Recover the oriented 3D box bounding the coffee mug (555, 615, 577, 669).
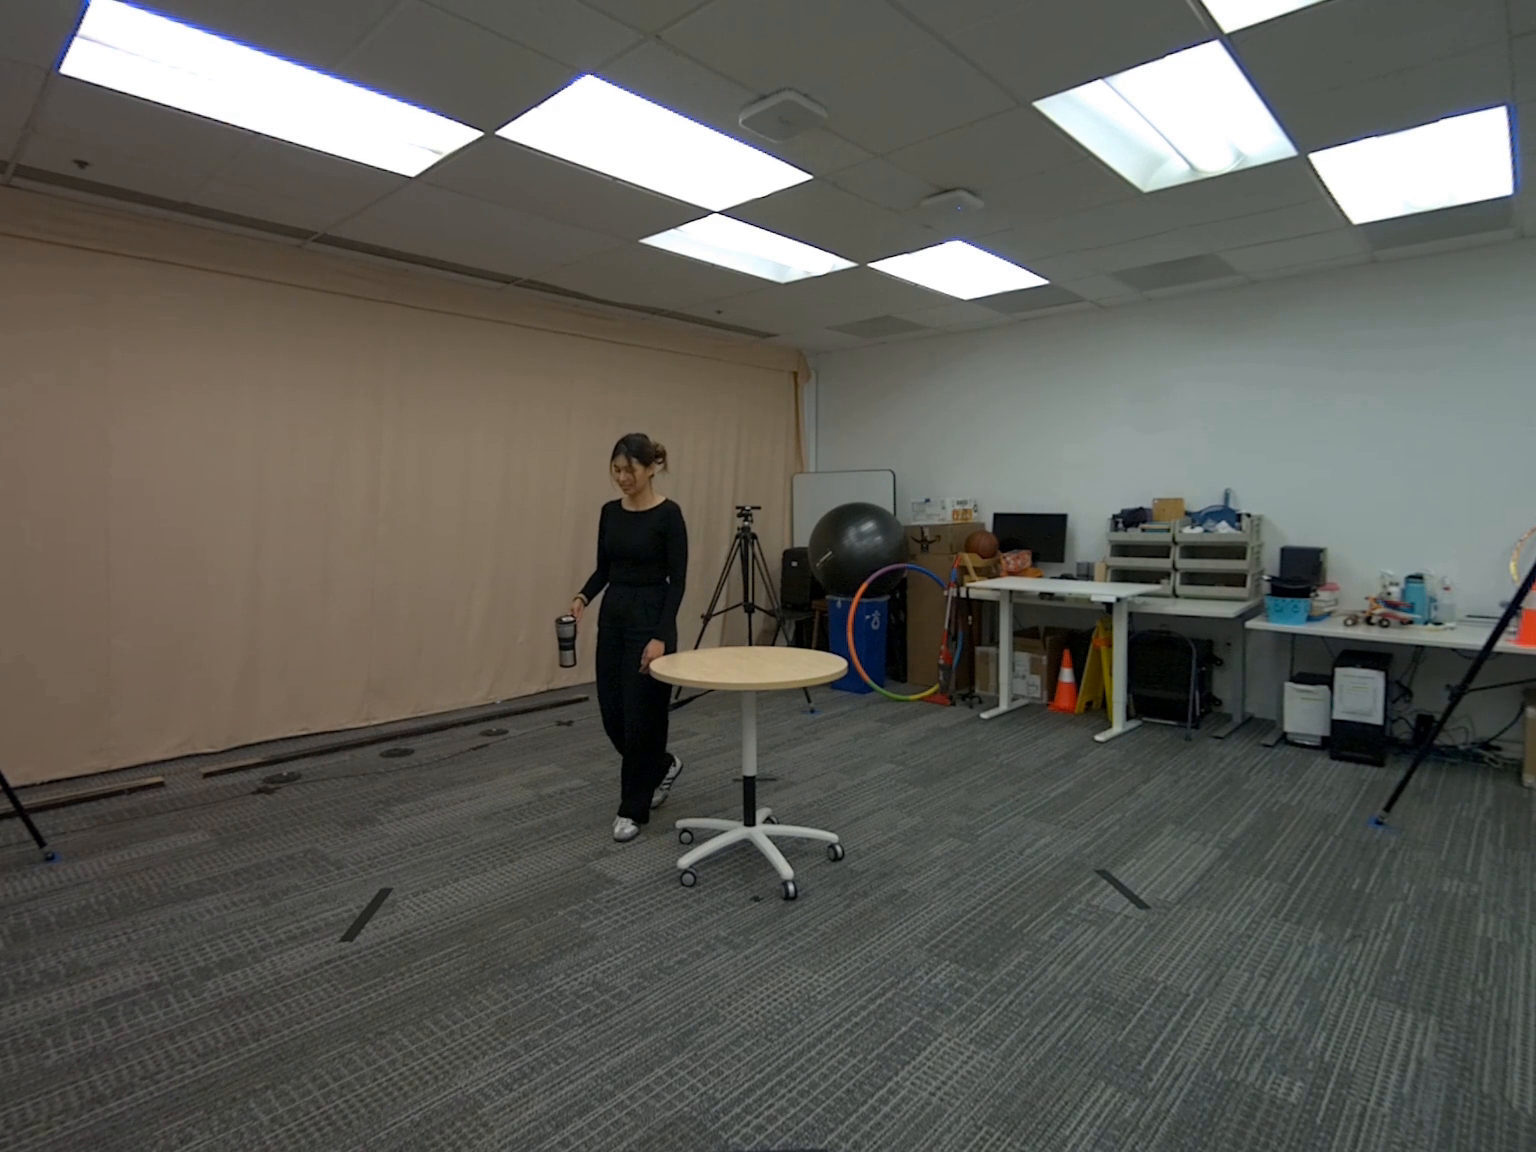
[{"bbox_3d":[-0.816,0.269,3.470,0.091,0.201,0.119,8,16,43],"label":"coffee mug"}]
